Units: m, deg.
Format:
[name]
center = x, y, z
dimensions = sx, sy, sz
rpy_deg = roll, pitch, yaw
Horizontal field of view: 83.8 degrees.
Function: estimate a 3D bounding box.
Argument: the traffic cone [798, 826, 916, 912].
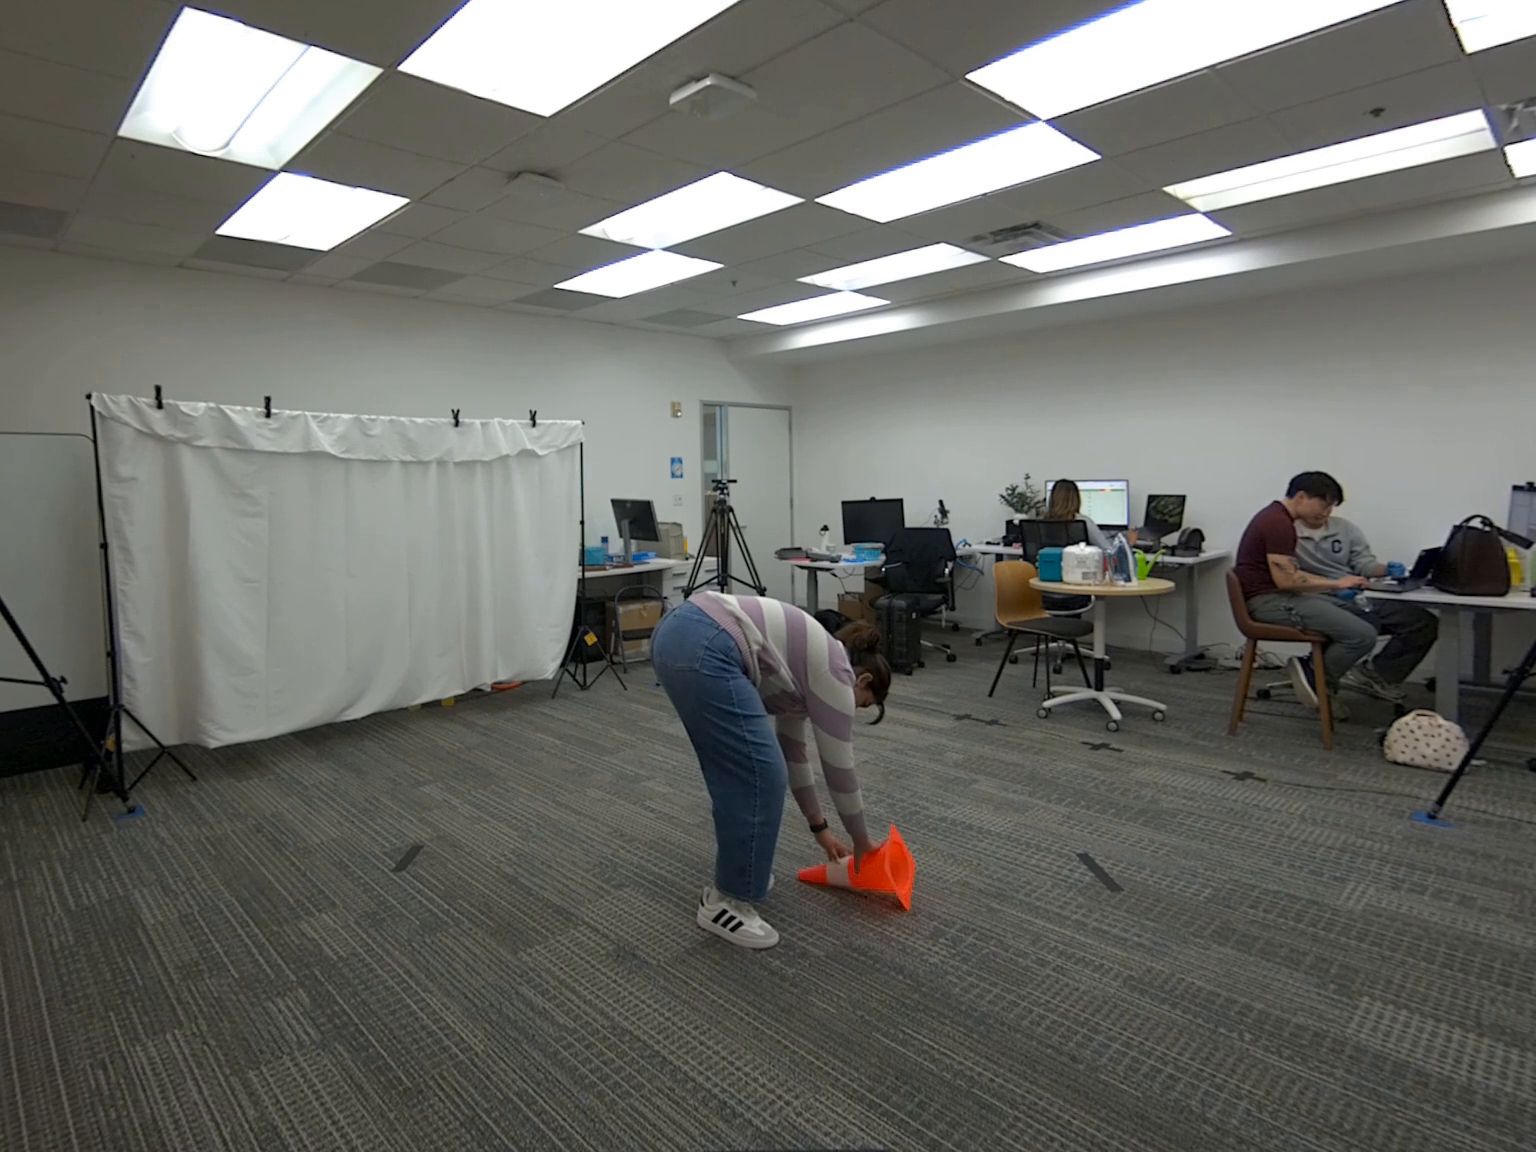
[traffic cone]
center = 0.274, 0.999, 2.888
dimensions = 0.389, 0.200, 0.205
rpy_deg = -17, 24, 26
